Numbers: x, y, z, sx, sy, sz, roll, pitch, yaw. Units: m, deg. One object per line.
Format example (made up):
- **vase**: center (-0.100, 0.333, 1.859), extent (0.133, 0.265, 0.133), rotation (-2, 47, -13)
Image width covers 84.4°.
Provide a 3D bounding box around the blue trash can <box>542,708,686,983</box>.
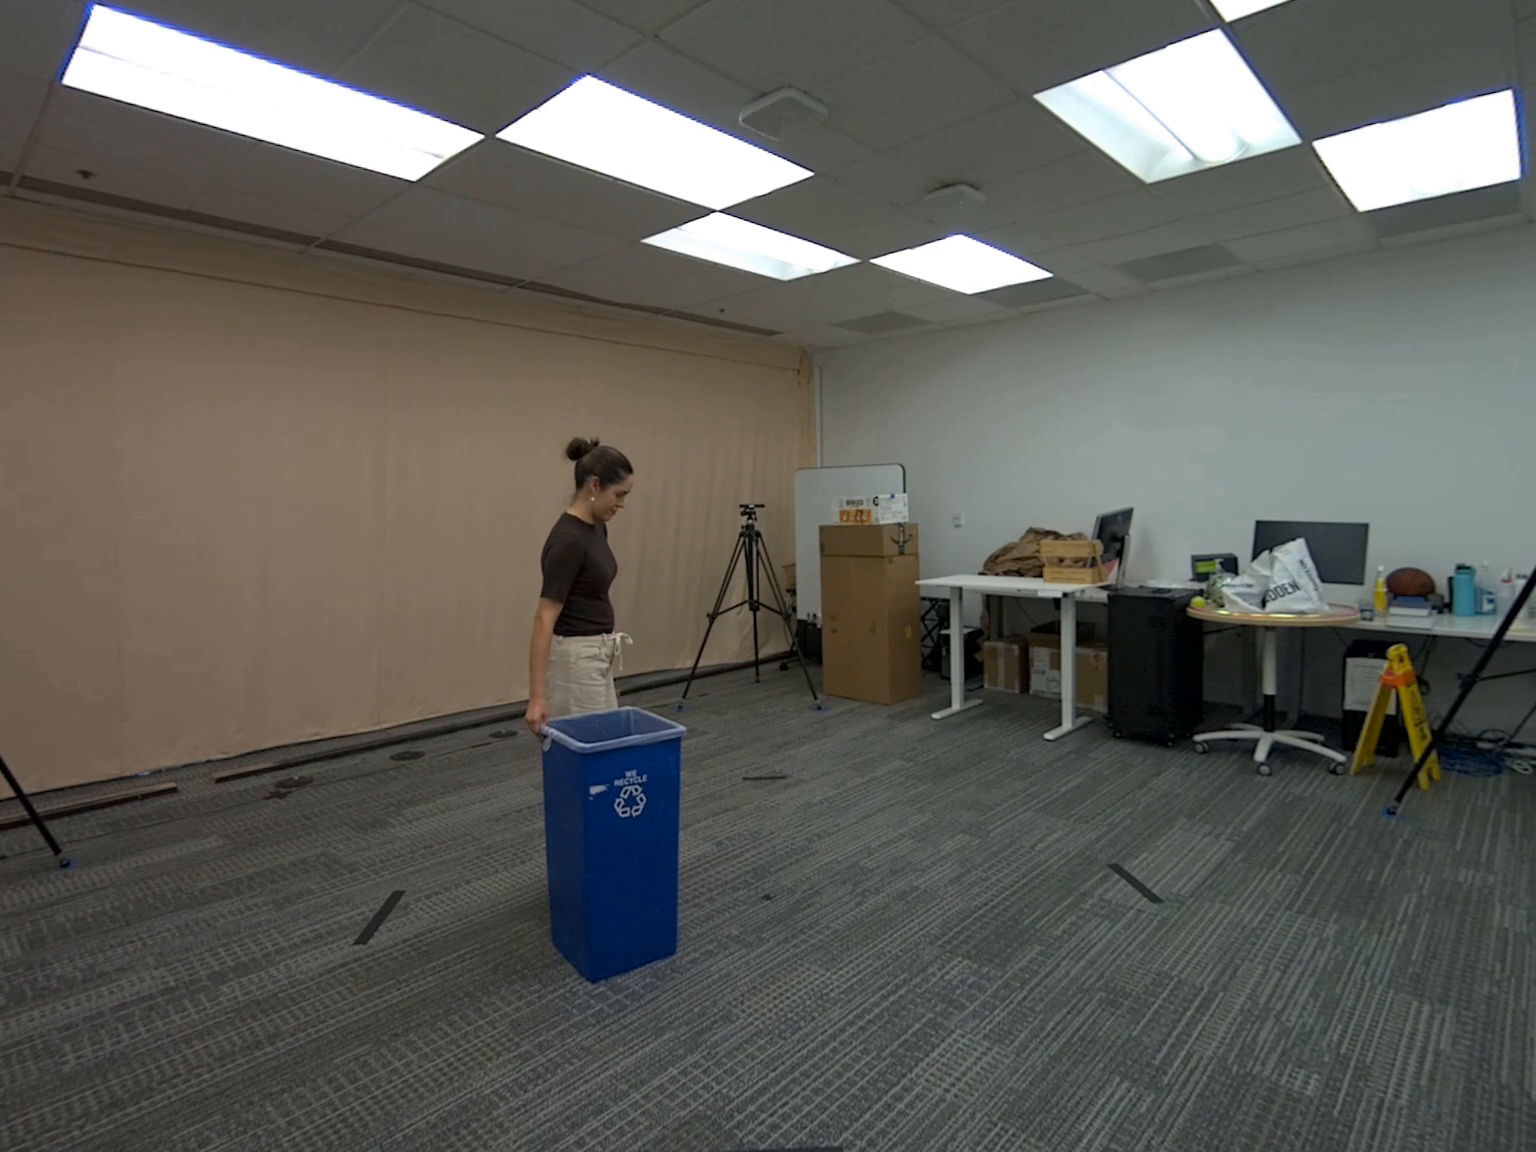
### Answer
- **blue trash can**: center (-0.484, 0.822, 2.643), extent (0.367, 0.712, 0.386), rotation (-2, 3, -36)
